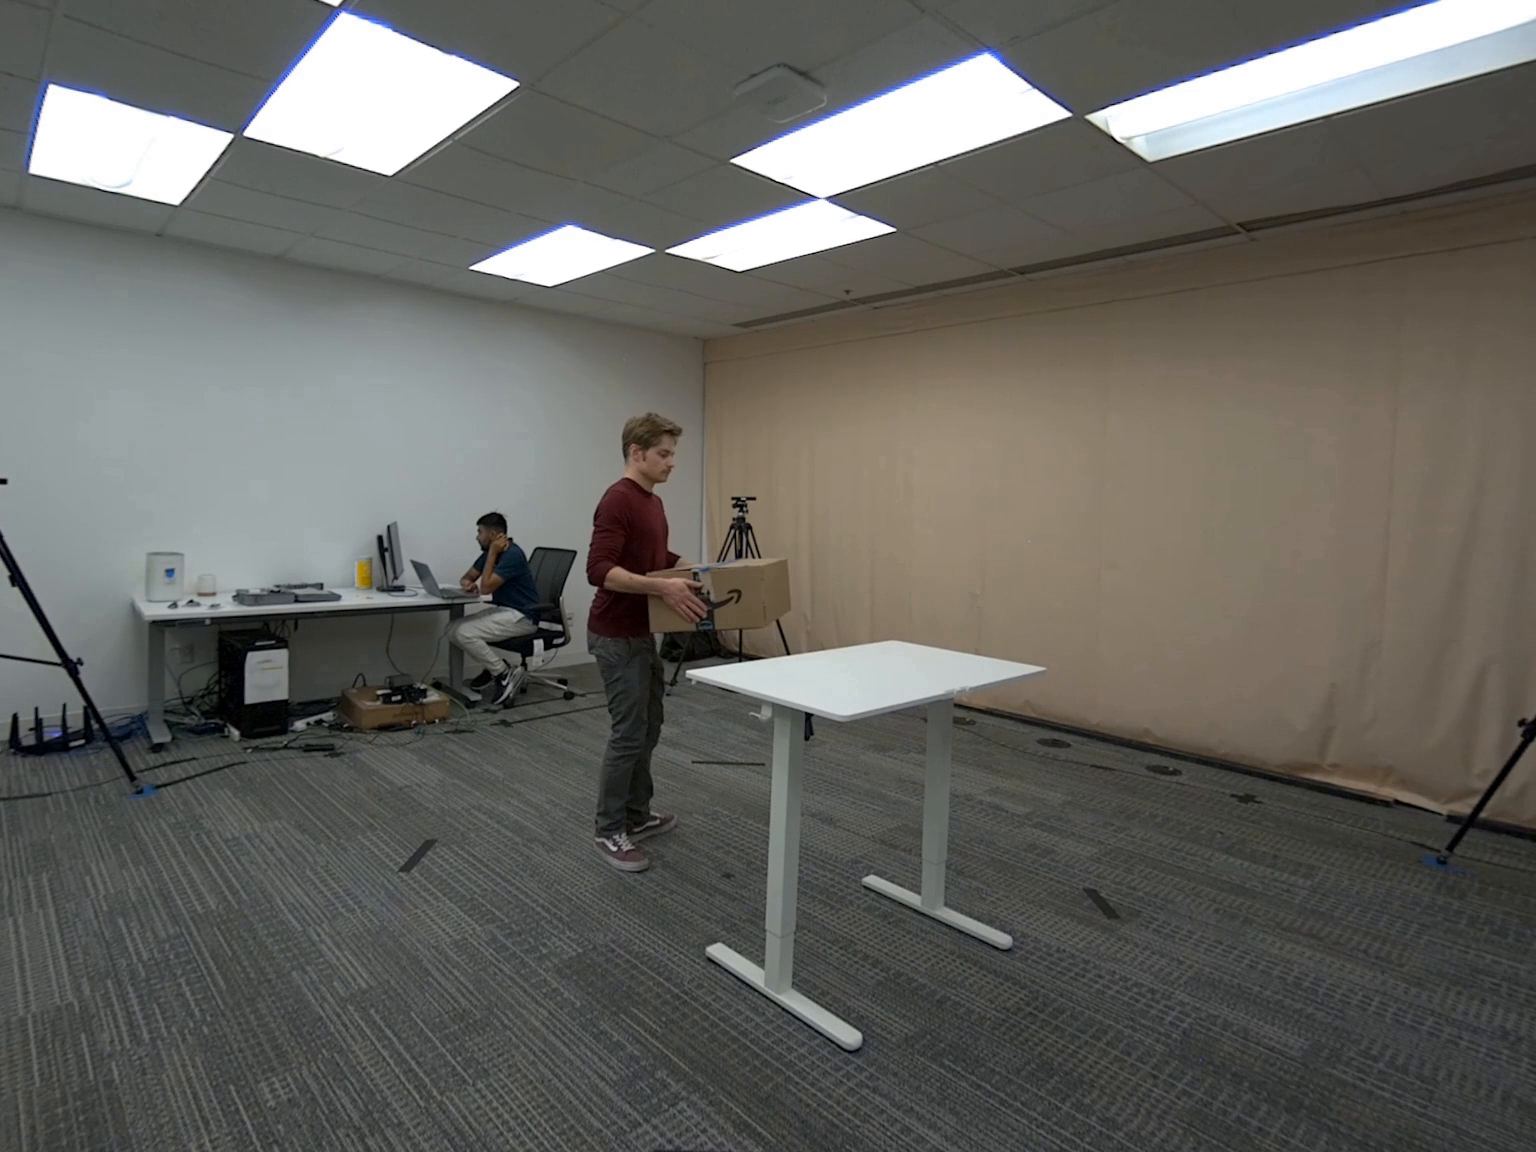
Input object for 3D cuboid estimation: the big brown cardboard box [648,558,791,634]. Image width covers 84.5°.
[{"bbox_3d":[-0.182,0.064,3.196,0.421,0.233,0.585,-3,3,9],"label":"big brown cardboard box"}]
